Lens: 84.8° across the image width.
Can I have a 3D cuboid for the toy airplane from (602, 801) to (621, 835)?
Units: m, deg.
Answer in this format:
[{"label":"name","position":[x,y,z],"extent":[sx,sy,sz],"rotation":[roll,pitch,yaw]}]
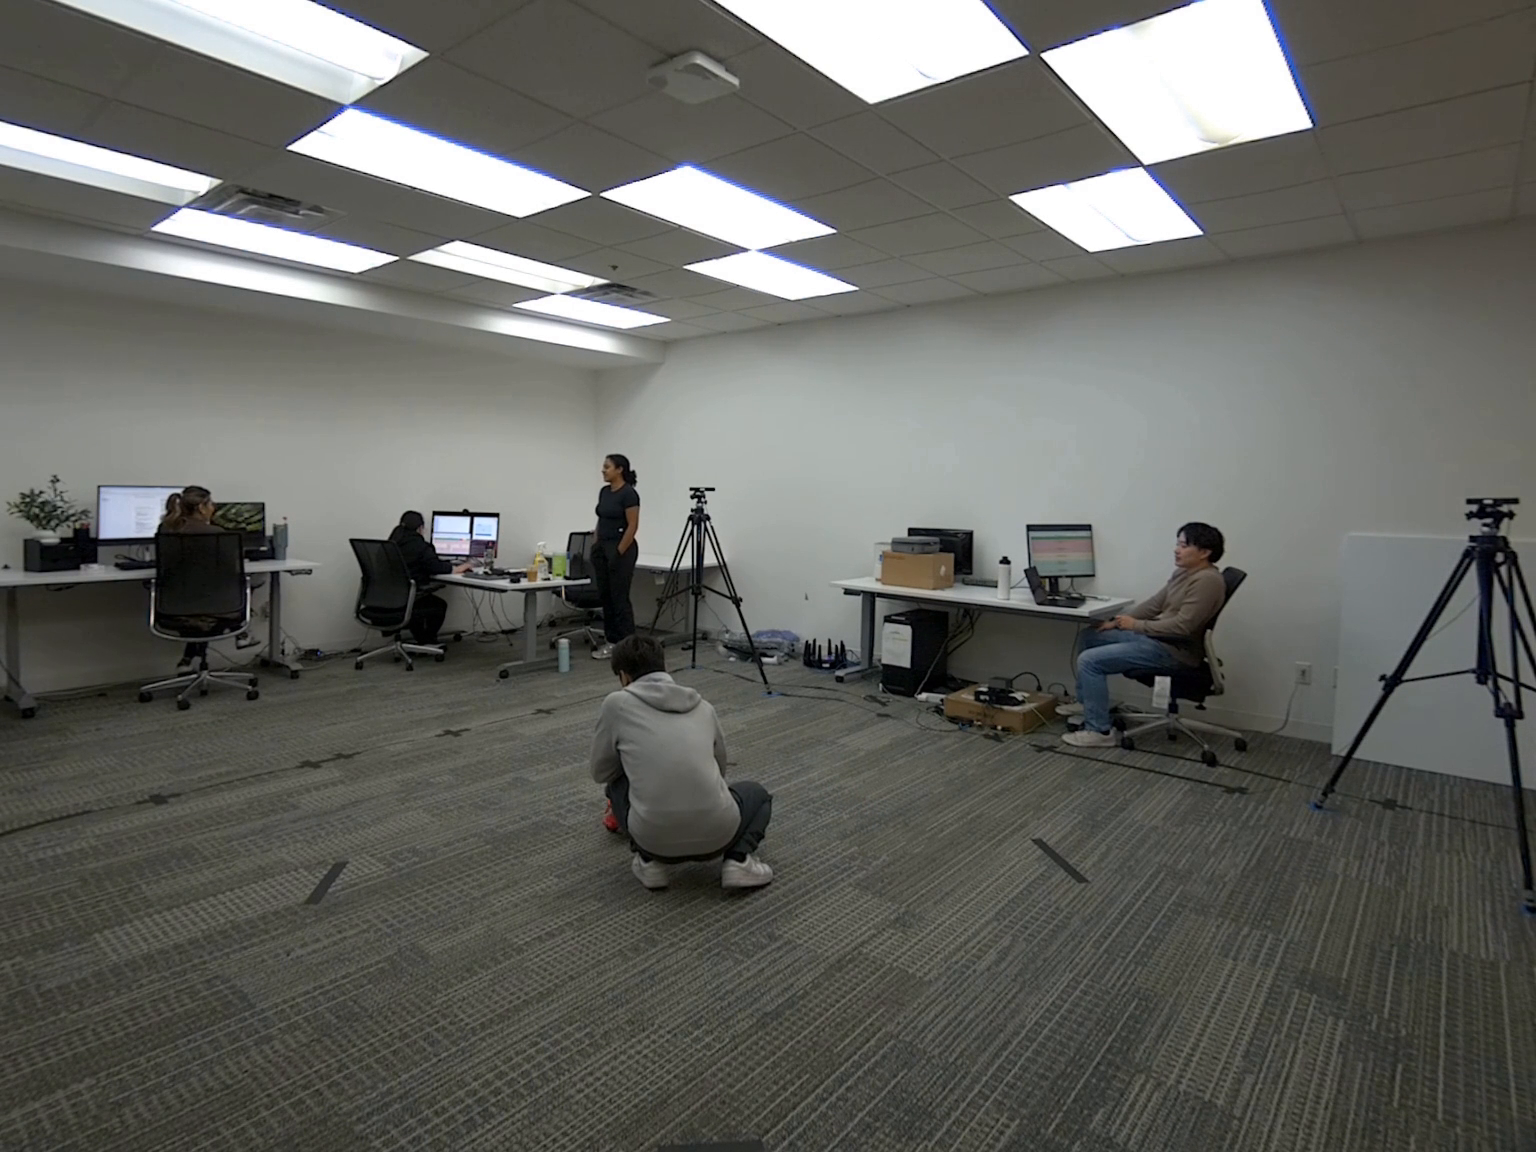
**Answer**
[{"label":"toy airplane","position":[-0.534,0.950,3.436],"extent":[0.260,0.156,0.251],"rotation":[0,4,1]}]
